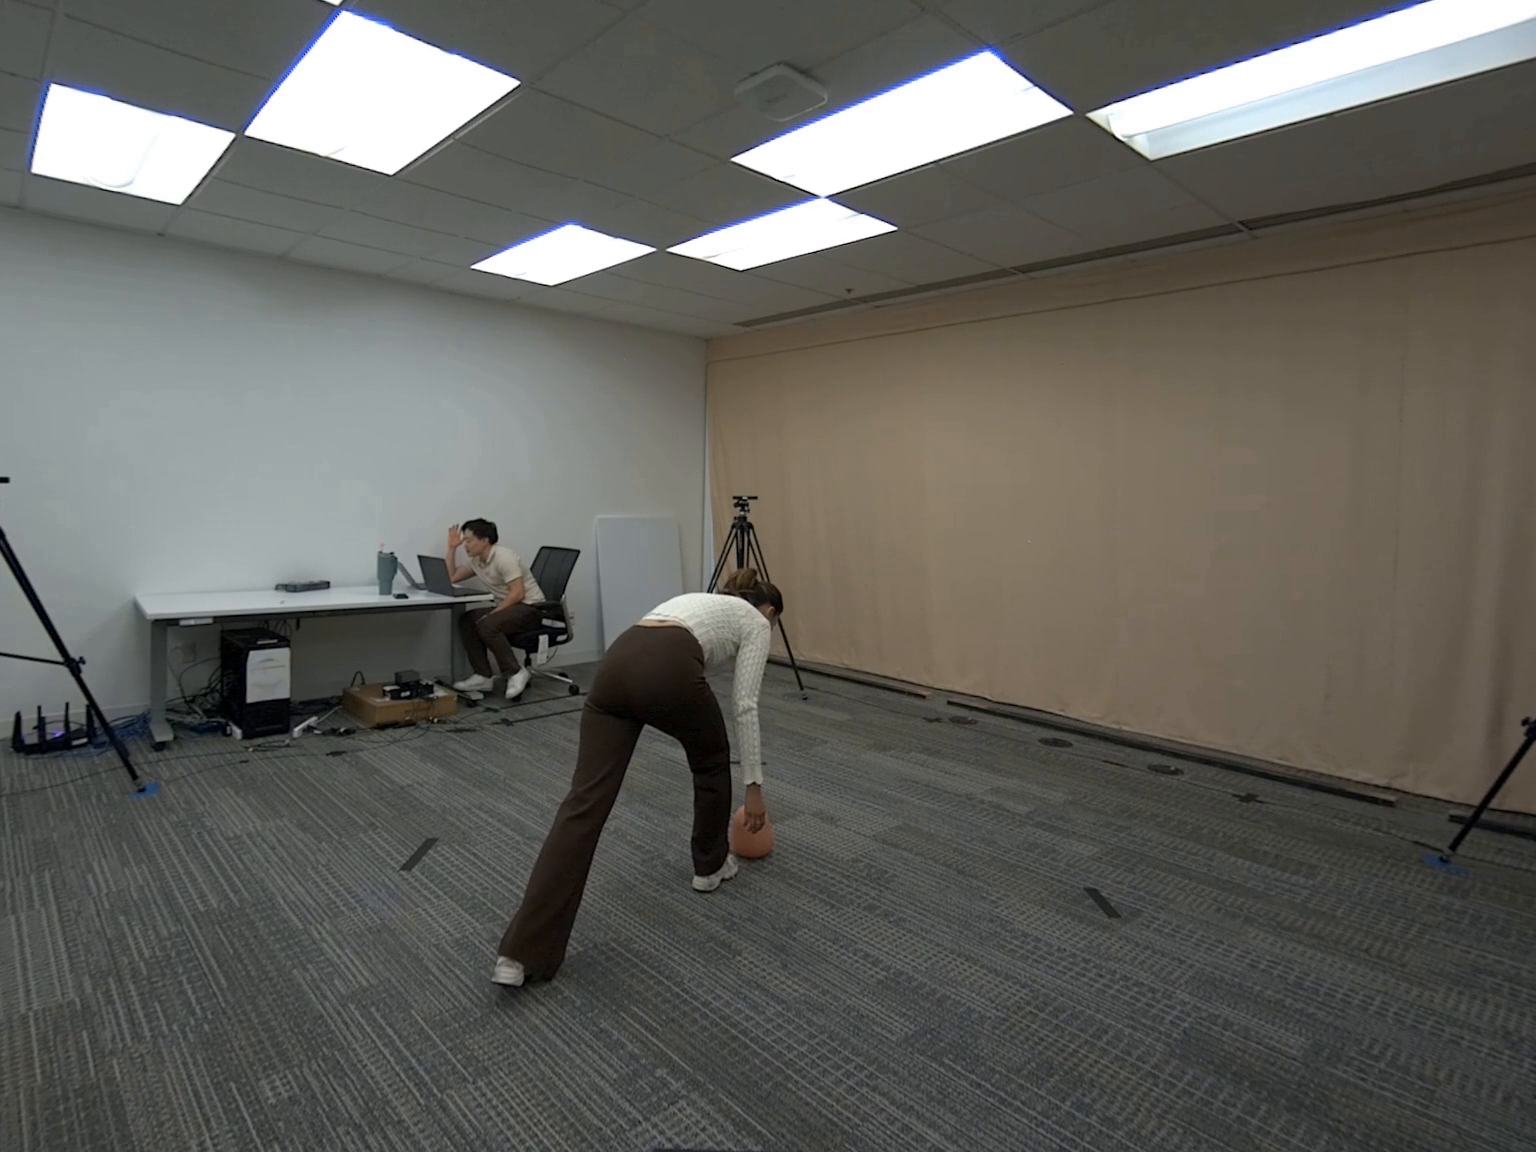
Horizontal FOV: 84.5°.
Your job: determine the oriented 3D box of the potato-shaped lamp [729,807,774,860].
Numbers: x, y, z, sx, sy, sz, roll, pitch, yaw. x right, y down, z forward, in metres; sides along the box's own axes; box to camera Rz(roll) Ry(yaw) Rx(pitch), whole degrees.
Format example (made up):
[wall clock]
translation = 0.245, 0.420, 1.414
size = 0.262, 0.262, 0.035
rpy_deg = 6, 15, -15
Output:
[potato-shaped lamp]
translation = -0.073, 0.987, 3.283
size = 0.168, 0.197, 0.168
rpy_deg = 4, 5, 29
